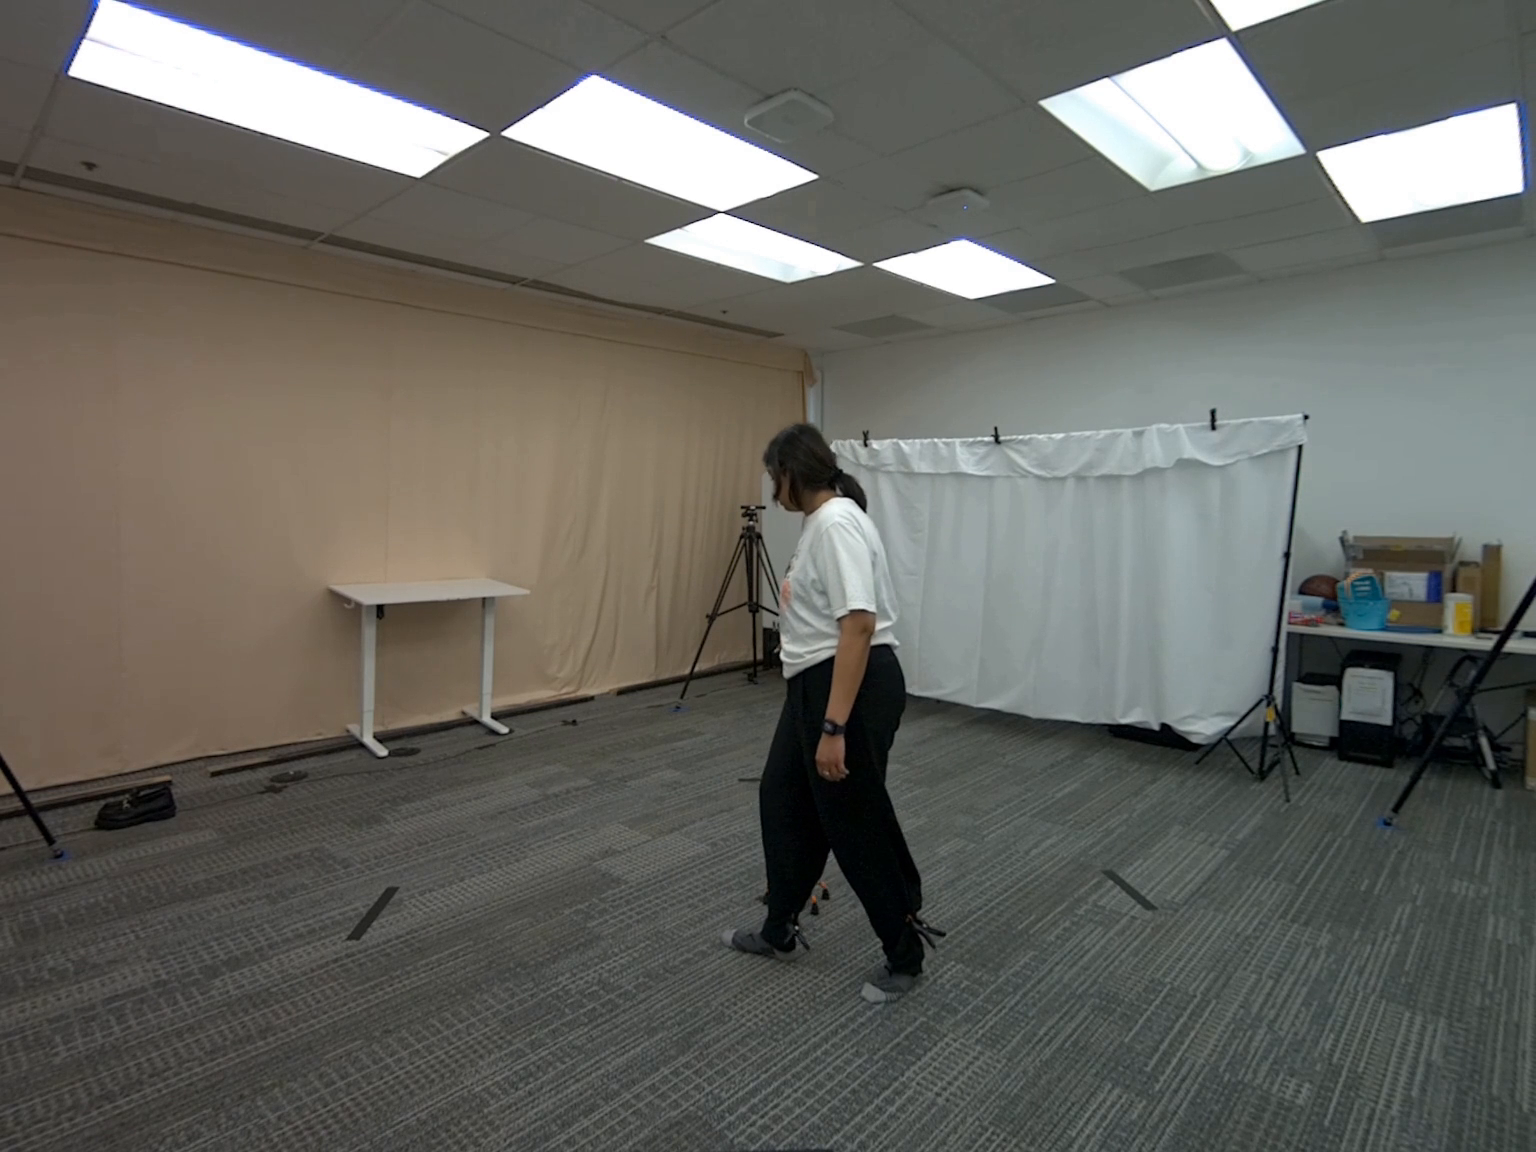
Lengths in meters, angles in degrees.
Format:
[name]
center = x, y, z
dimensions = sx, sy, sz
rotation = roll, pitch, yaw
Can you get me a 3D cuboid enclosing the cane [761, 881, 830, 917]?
[cane]
center = 0.100, 0.691, 2.943
dimensions = 0.211, 0.906, 0.148
rotation = 1, 3, 22
